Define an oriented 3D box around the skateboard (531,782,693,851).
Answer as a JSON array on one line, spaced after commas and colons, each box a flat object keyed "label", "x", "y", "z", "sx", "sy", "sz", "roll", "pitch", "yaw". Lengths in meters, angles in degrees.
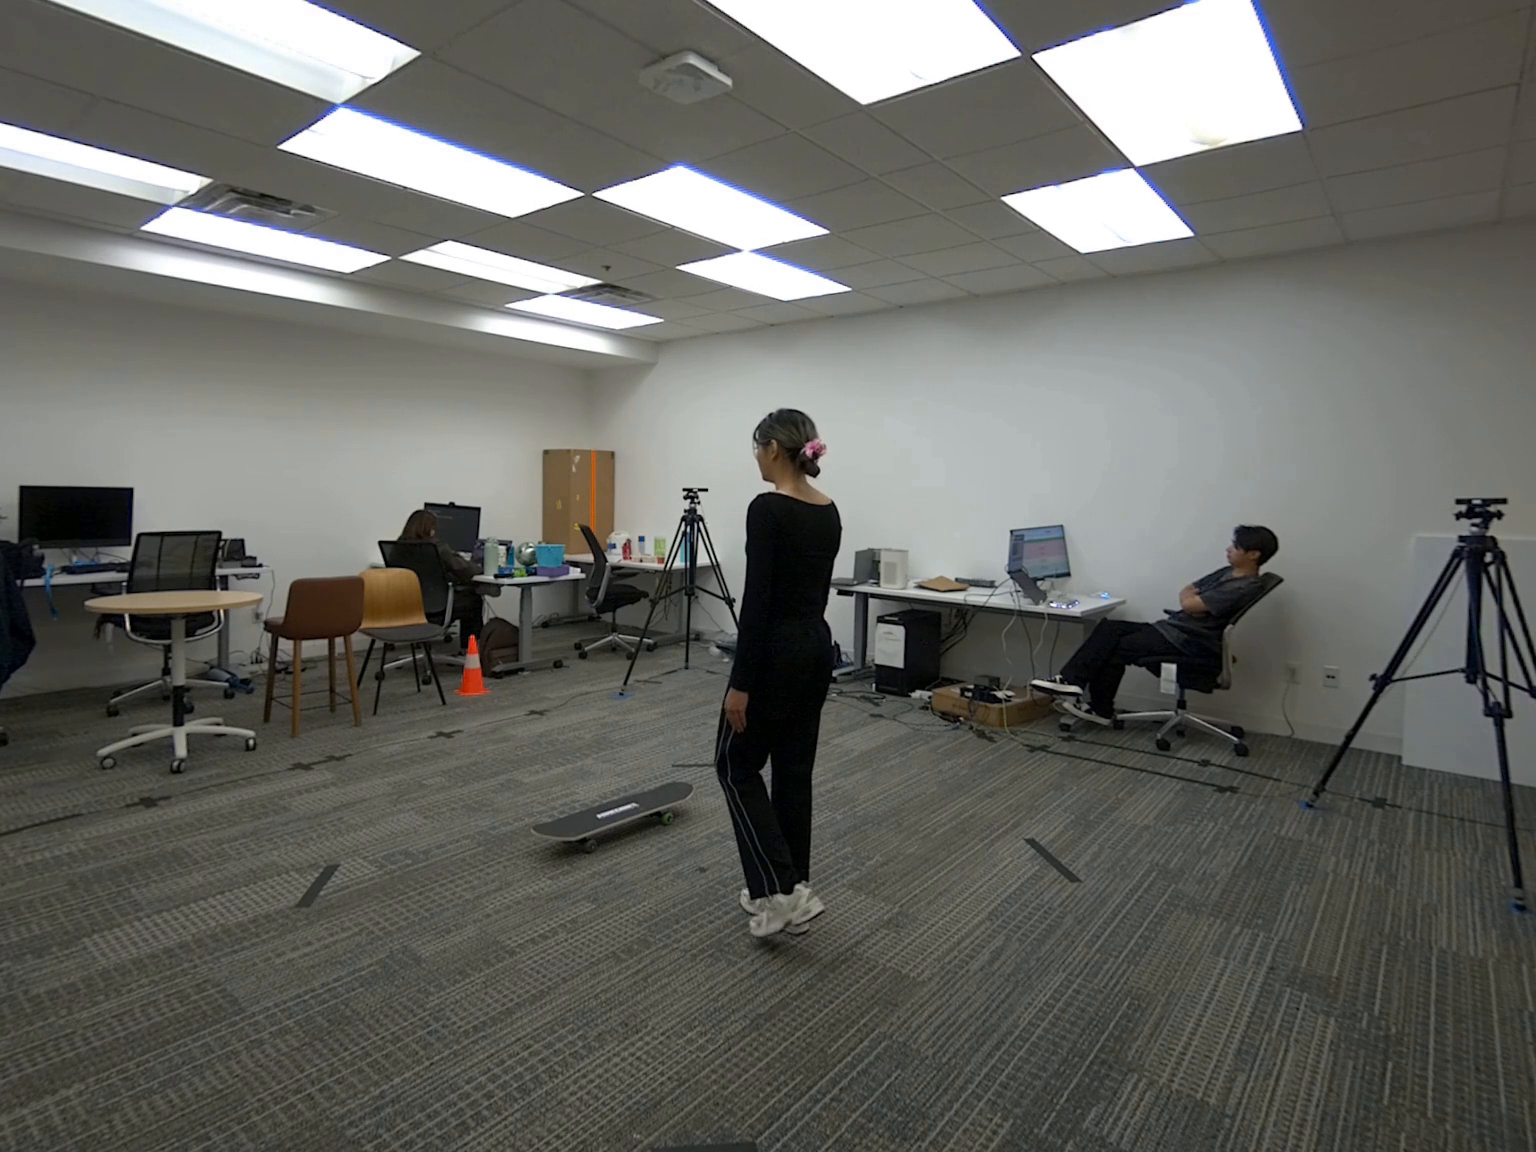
[{"label": "skateboard", "x": -0.617, "y": 0.977, "z": 3.438, "sx": 0.200, "sy": 0.110, "sz": 0.762, "roll": 5, "pitch": 7, "yaw": 42}]
